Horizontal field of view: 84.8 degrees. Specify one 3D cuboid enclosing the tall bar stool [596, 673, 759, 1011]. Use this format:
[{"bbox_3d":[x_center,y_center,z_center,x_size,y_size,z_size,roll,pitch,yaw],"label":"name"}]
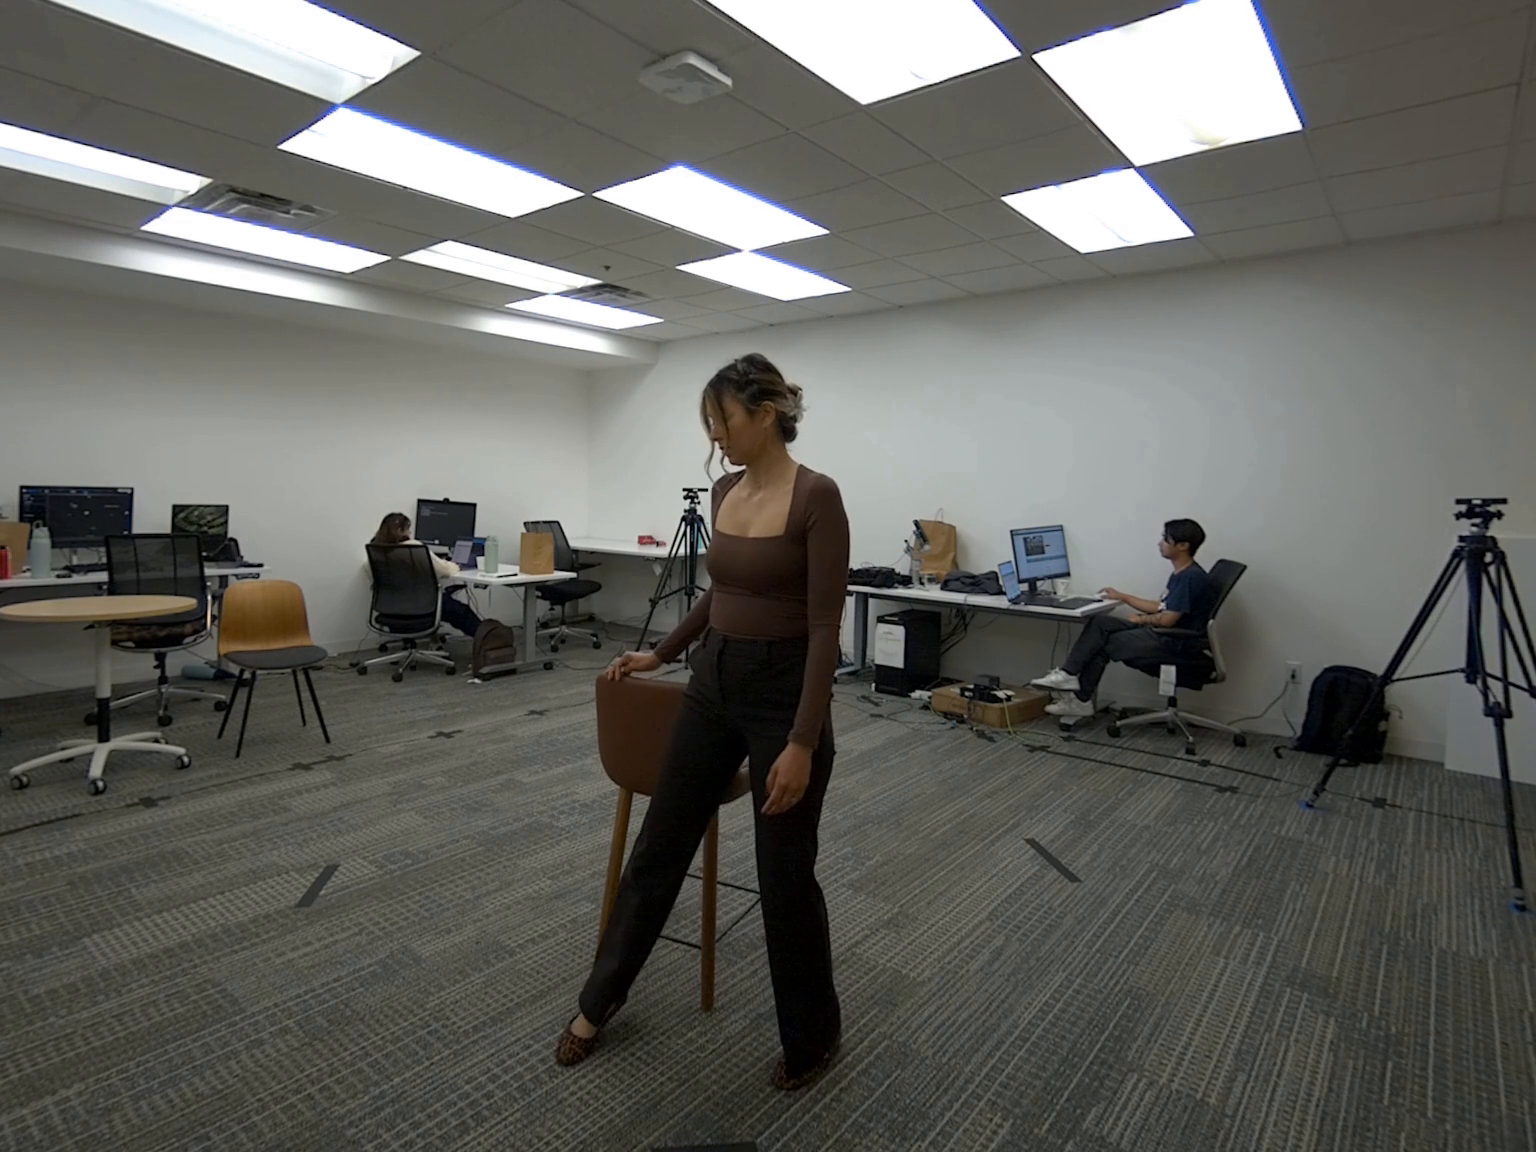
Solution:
[{"bbox_3d":[-0.248,0.688,2.514,0.468,0.886,0.458,2,5,25],"label":"tall bar stool"}]
